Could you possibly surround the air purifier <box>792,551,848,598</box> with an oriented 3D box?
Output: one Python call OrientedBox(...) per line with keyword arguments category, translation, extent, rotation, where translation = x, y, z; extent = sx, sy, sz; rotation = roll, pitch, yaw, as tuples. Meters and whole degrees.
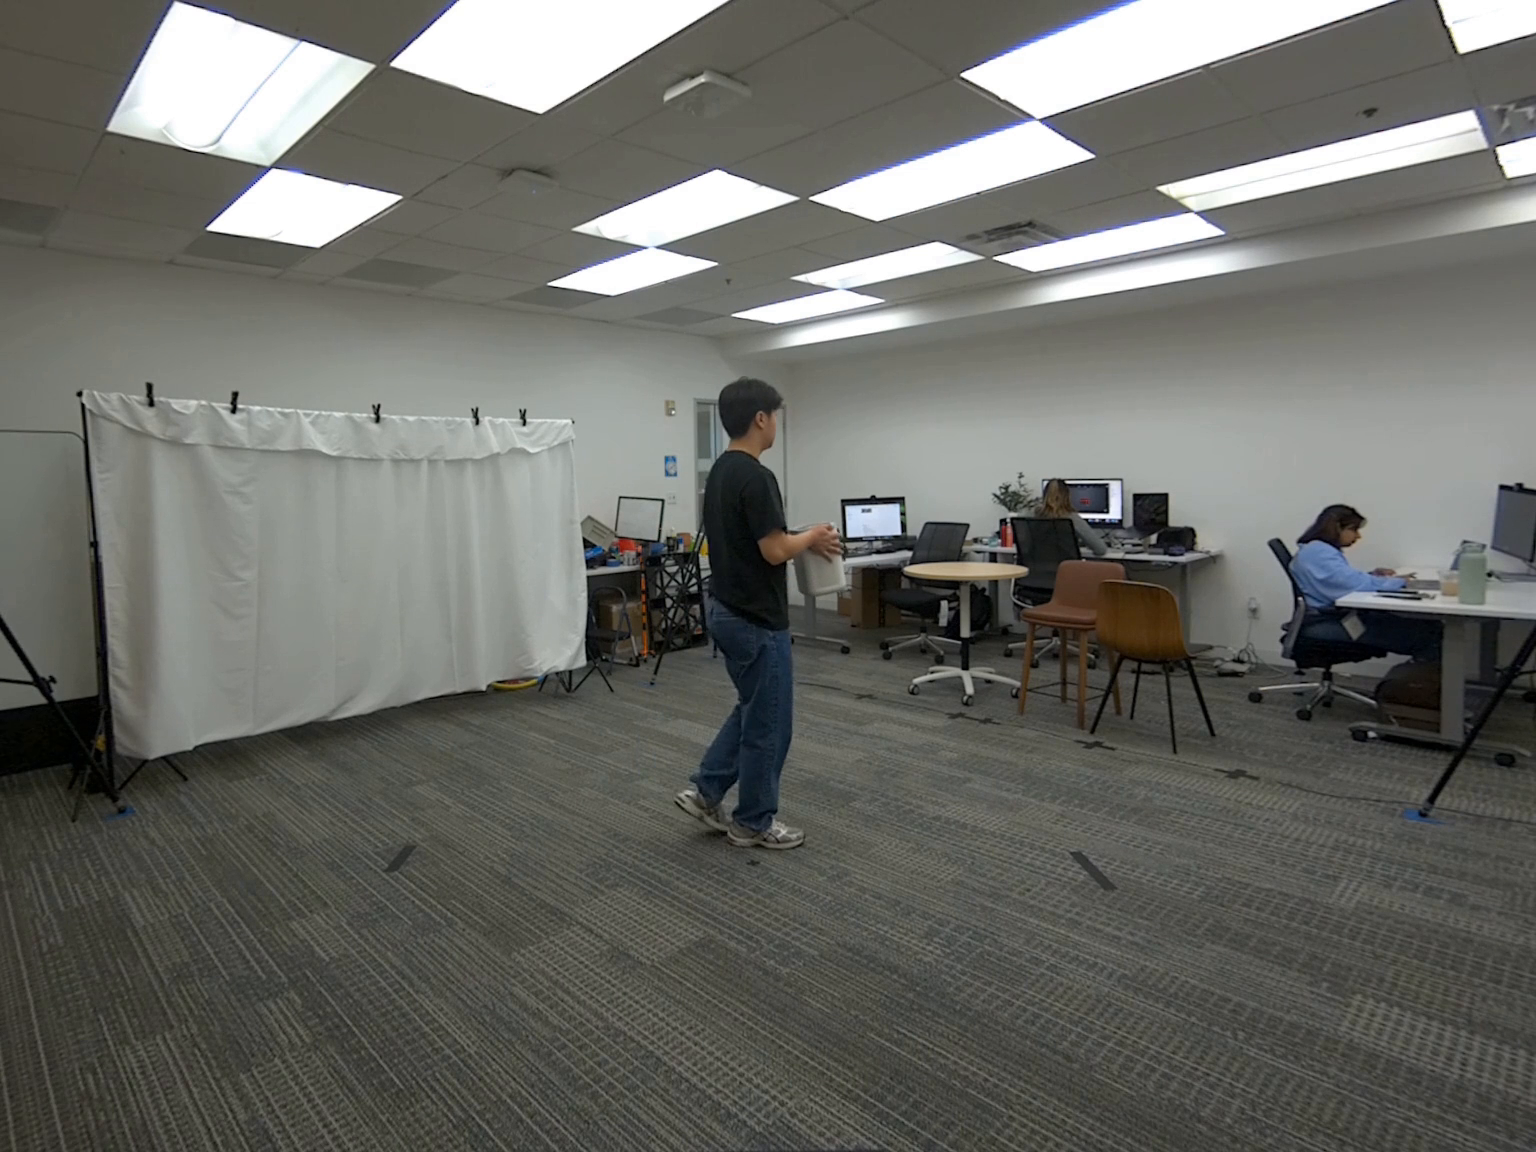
OrientedBox(category="air purifier", translation=(0.194, -0.061, 3.319), extent=(0.170, 0.265, 0.173), rotation=(-10, 3, -8))
